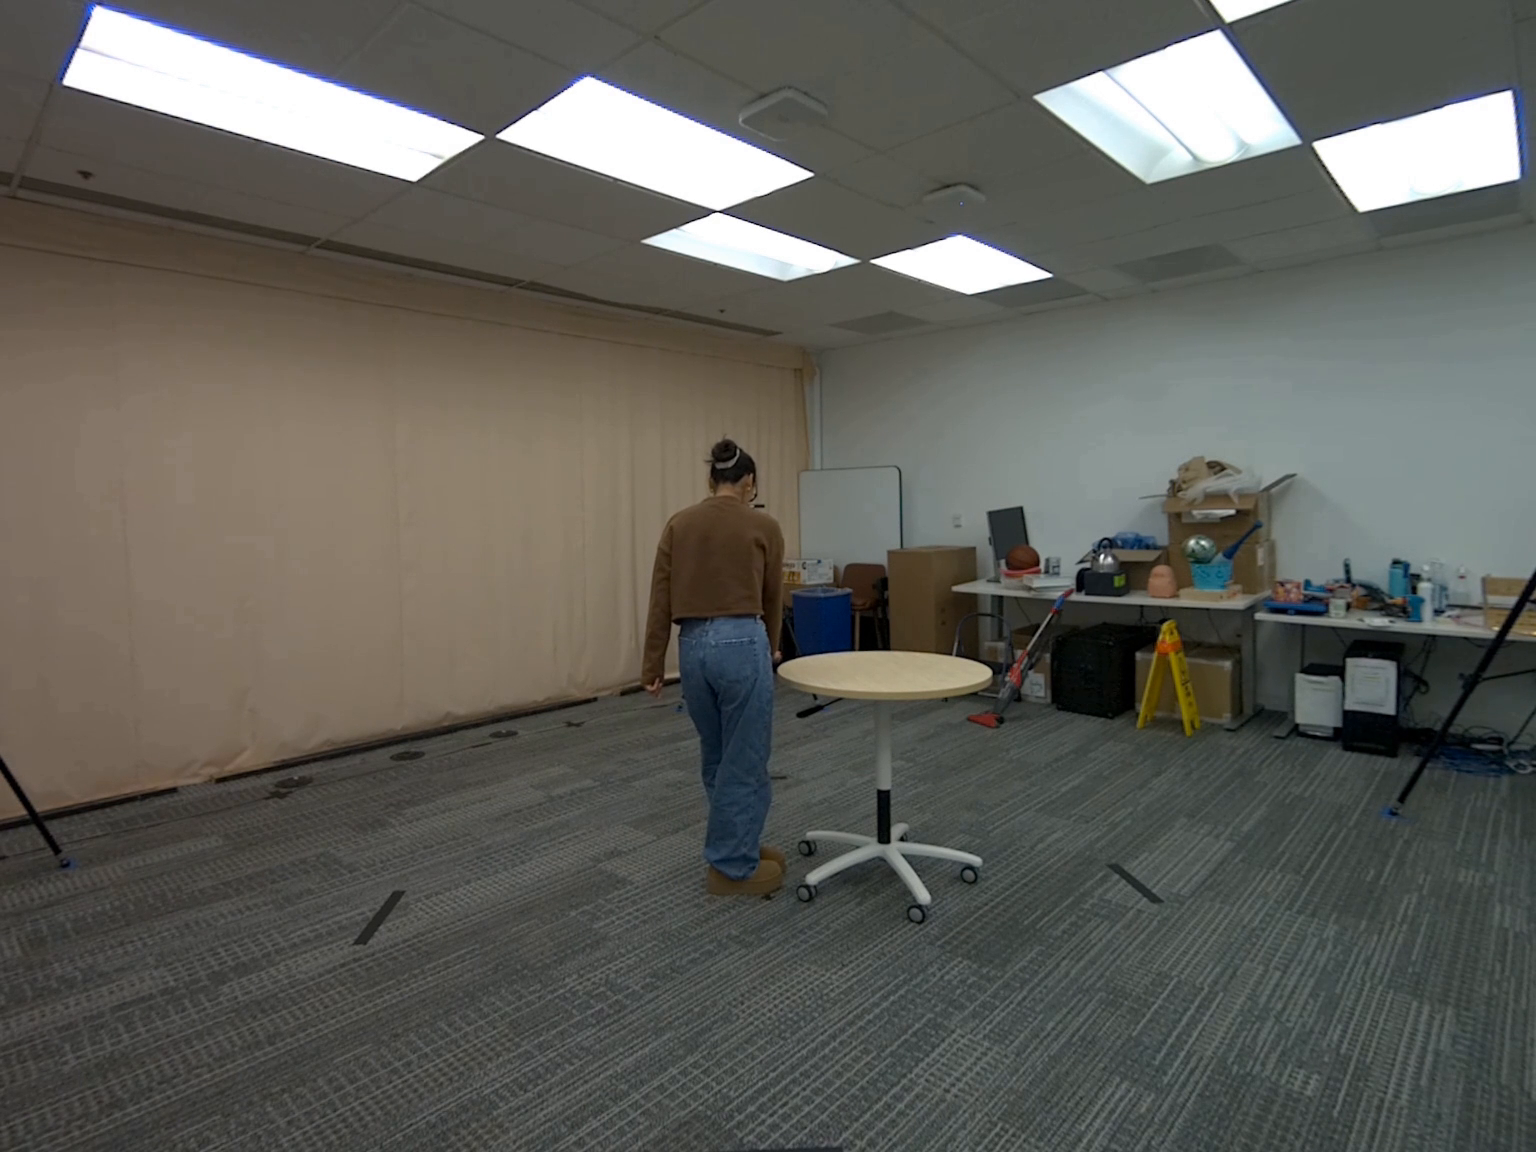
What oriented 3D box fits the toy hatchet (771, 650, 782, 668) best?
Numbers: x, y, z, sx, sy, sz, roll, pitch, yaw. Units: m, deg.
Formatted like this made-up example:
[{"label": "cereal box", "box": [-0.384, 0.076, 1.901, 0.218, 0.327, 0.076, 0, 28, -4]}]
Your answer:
[{"label": "toy hatchet", "box": [-0.074, 0.329, 3.428, 0.135, 0.029, 0.262, -1, 5, 41]}]
